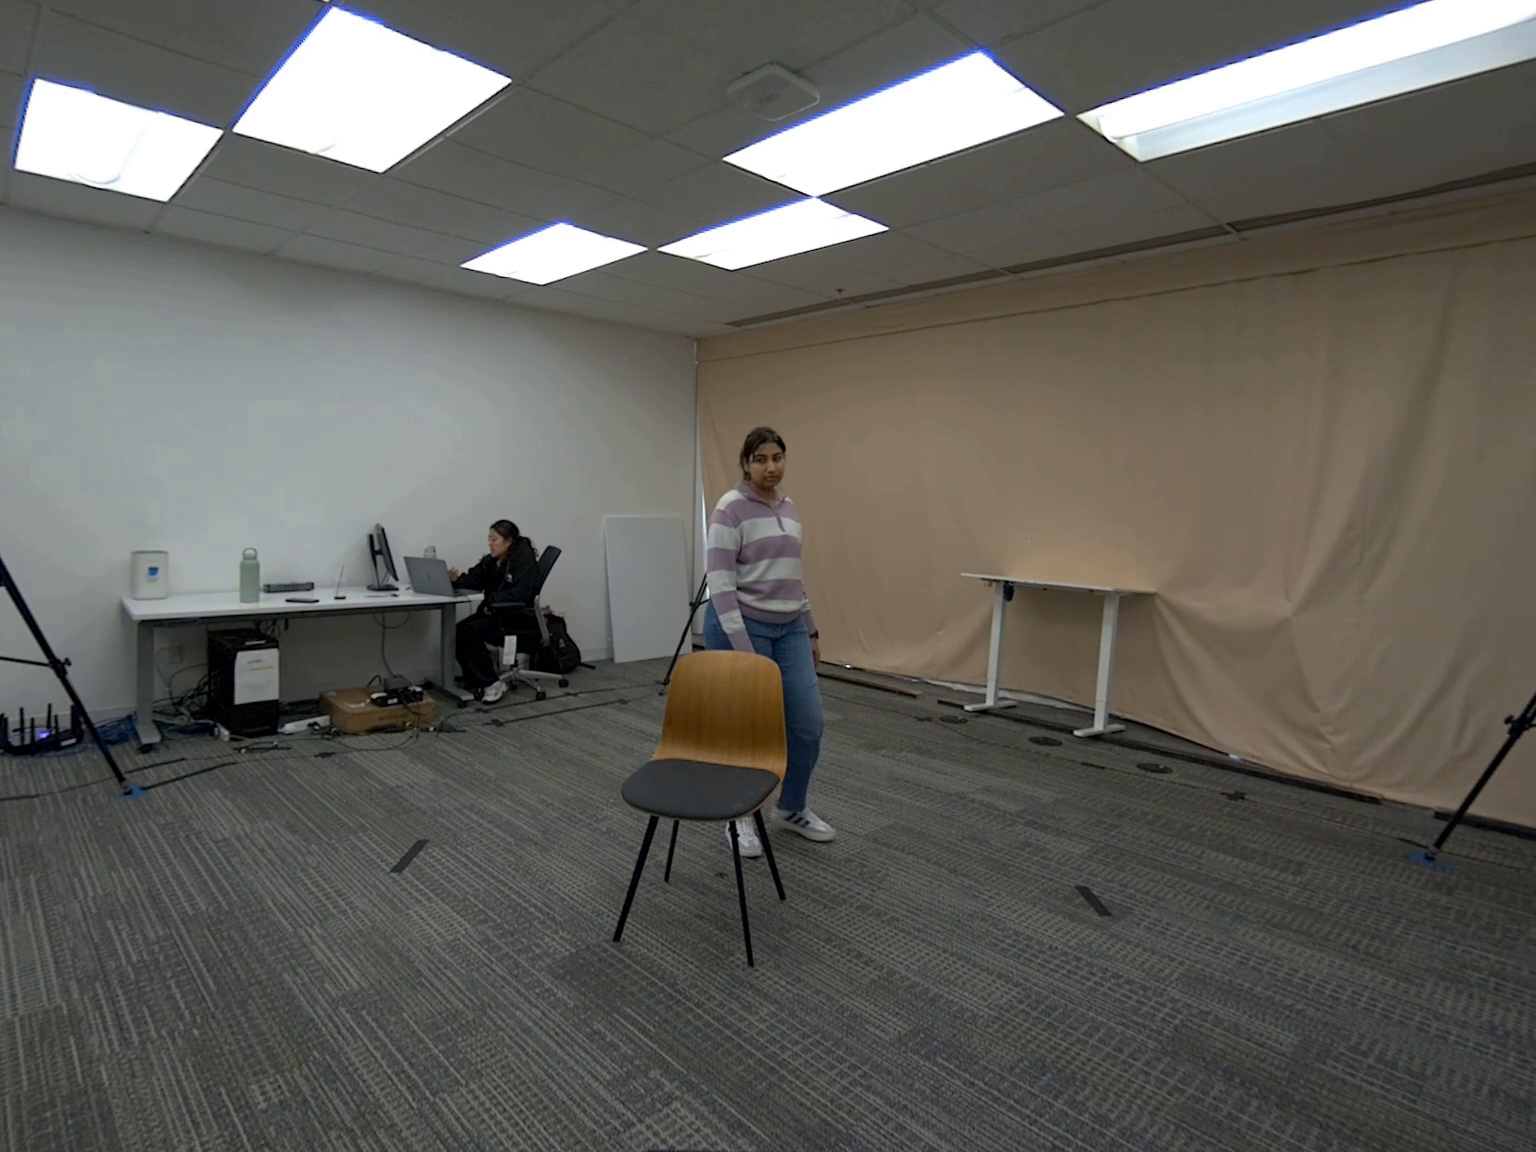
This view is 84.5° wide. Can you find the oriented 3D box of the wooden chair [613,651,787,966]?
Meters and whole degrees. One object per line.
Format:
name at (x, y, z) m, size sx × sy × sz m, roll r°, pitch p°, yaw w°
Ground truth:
wooden chair at (-0.209, 0.709, 2.734) m, size 0.484 × 0.877 × 0.516 m, roll 2°, pitch 0°, yaw 15°
